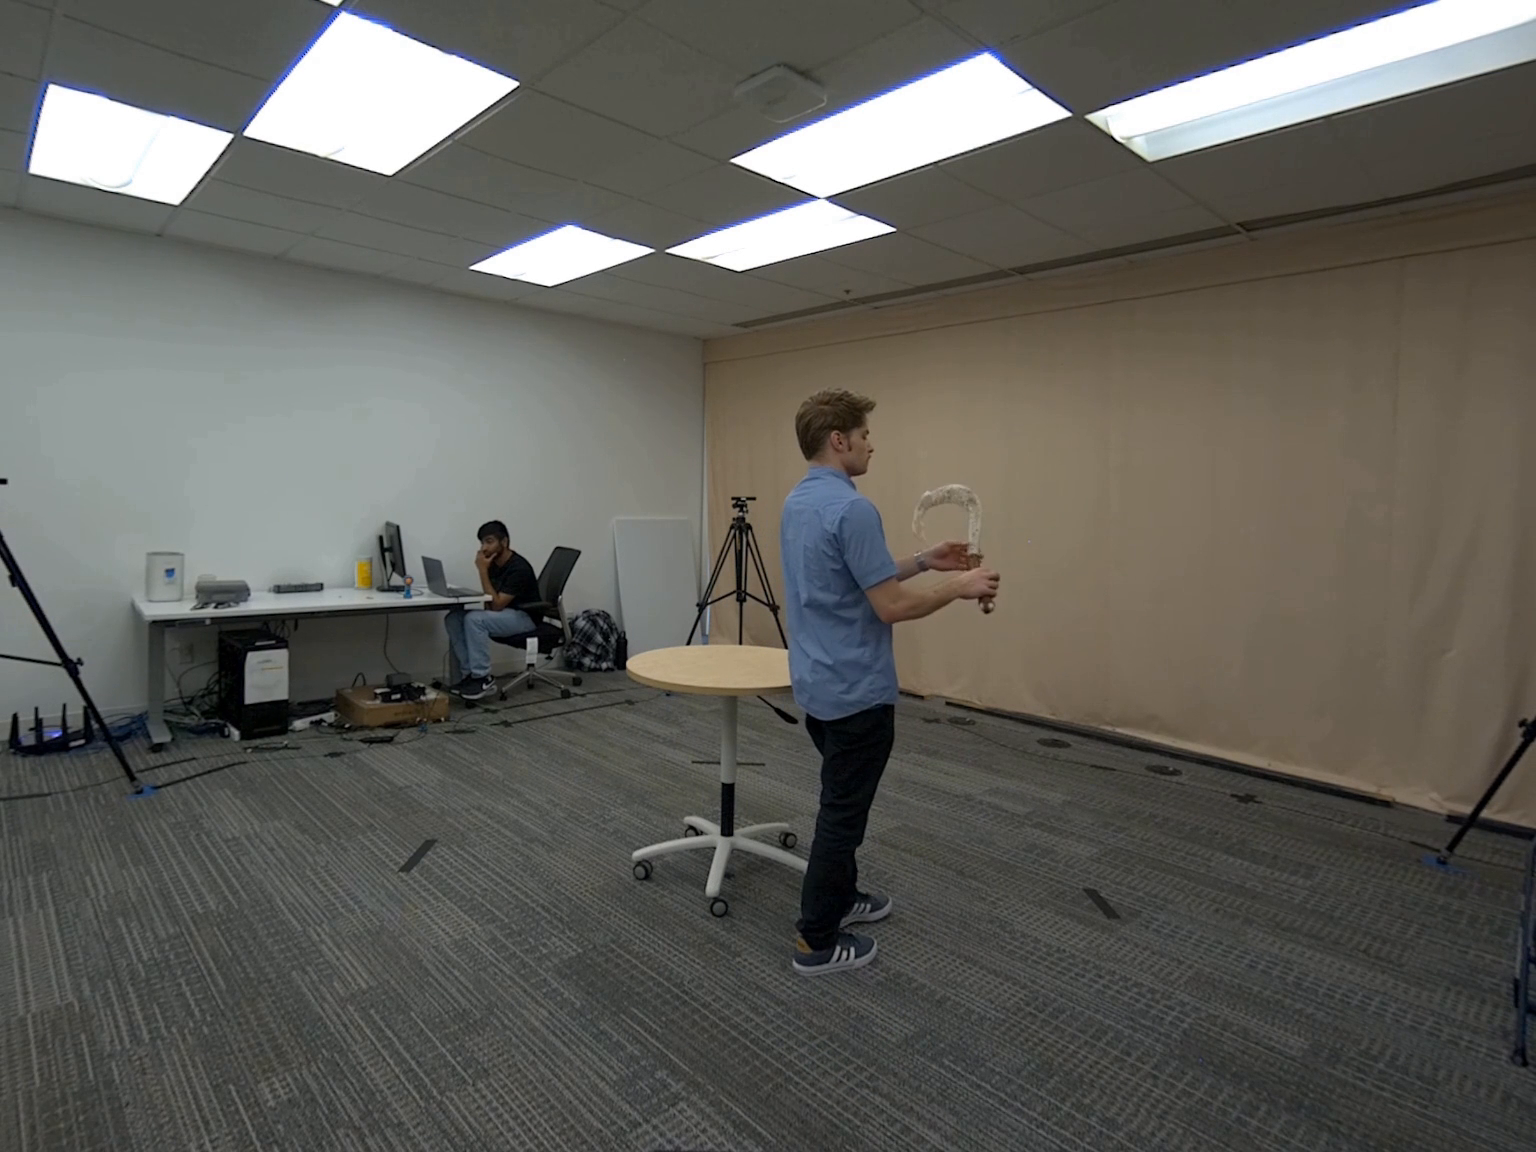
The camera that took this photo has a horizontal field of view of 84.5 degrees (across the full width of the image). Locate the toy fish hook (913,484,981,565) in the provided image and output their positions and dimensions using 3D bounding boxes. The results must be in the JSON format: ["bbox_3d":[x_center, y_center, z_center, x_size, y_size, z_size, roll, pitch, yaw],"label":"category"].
[{"bbox_3d":[0.573,-0.076,2.586,0.227,0.518,0.047,-20,-41,19],"label":"toy fish hook"}]
